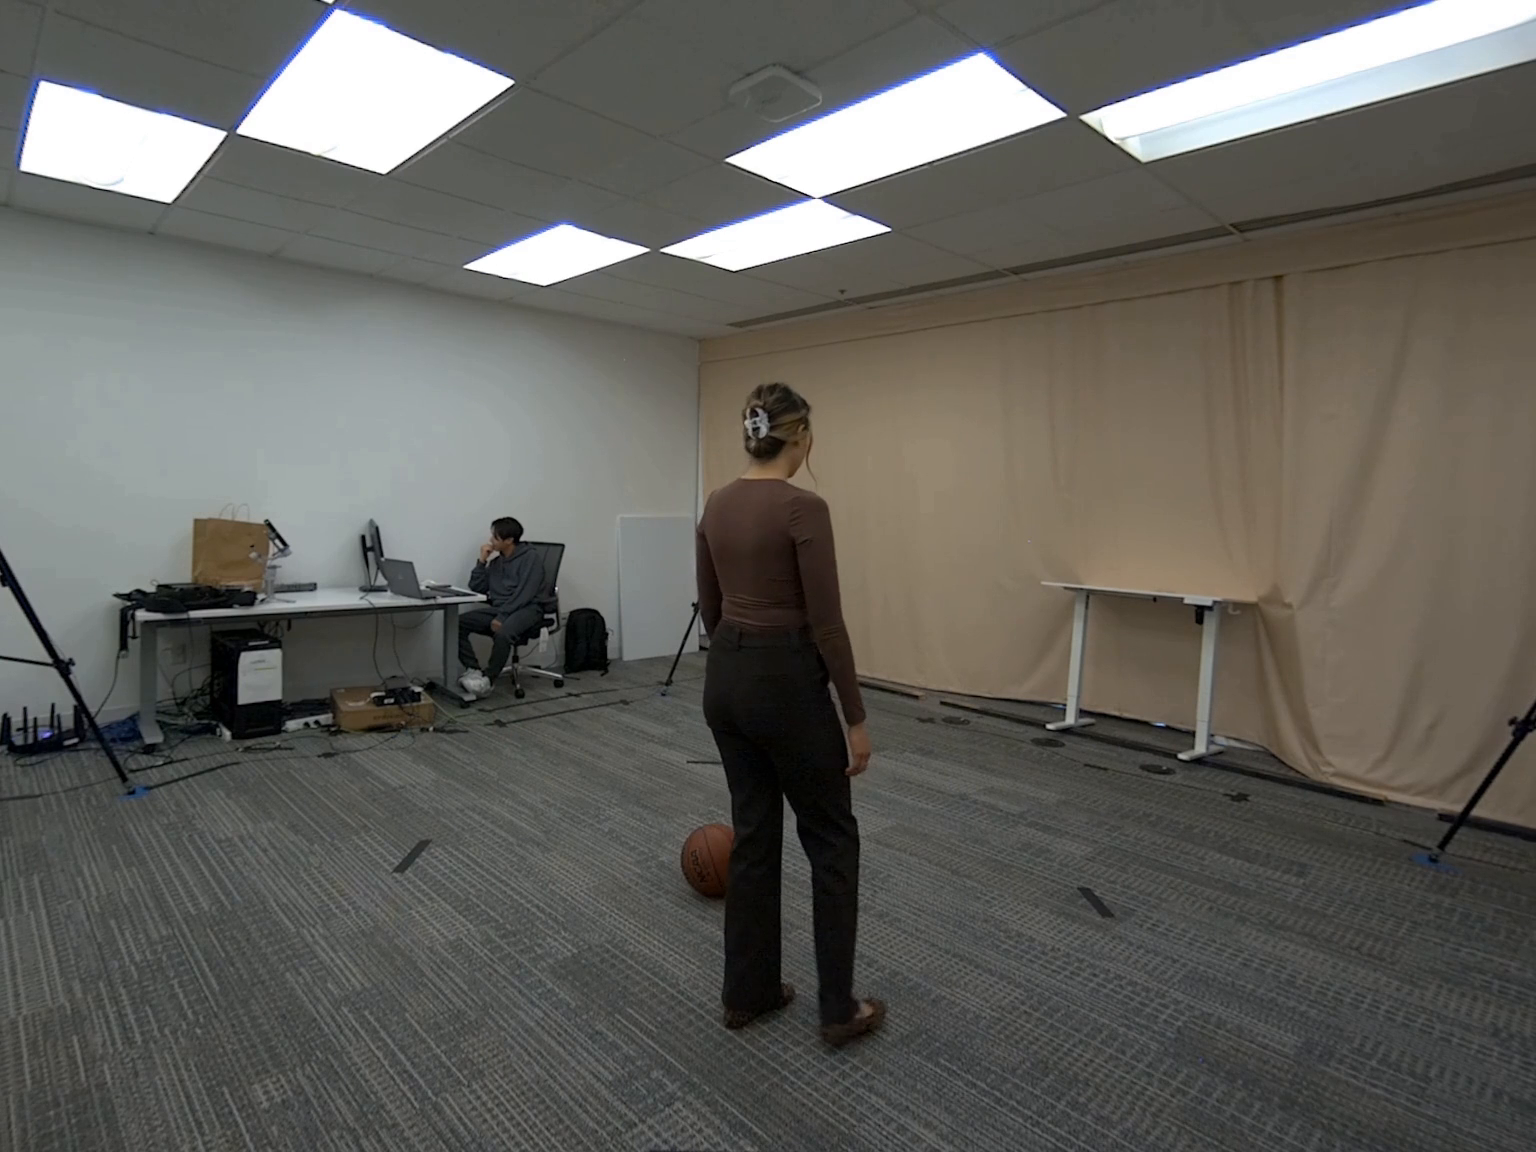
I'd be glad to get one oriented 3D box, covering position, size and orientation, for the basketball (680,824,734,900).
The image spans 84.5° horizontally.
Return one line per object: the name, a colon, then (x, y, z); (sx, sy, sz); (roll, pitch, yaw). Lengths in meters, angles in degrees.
basketball: (-0.193, 0.996, 2.967); (0.236, 0.235, 0.237); (1, 4, -1)
